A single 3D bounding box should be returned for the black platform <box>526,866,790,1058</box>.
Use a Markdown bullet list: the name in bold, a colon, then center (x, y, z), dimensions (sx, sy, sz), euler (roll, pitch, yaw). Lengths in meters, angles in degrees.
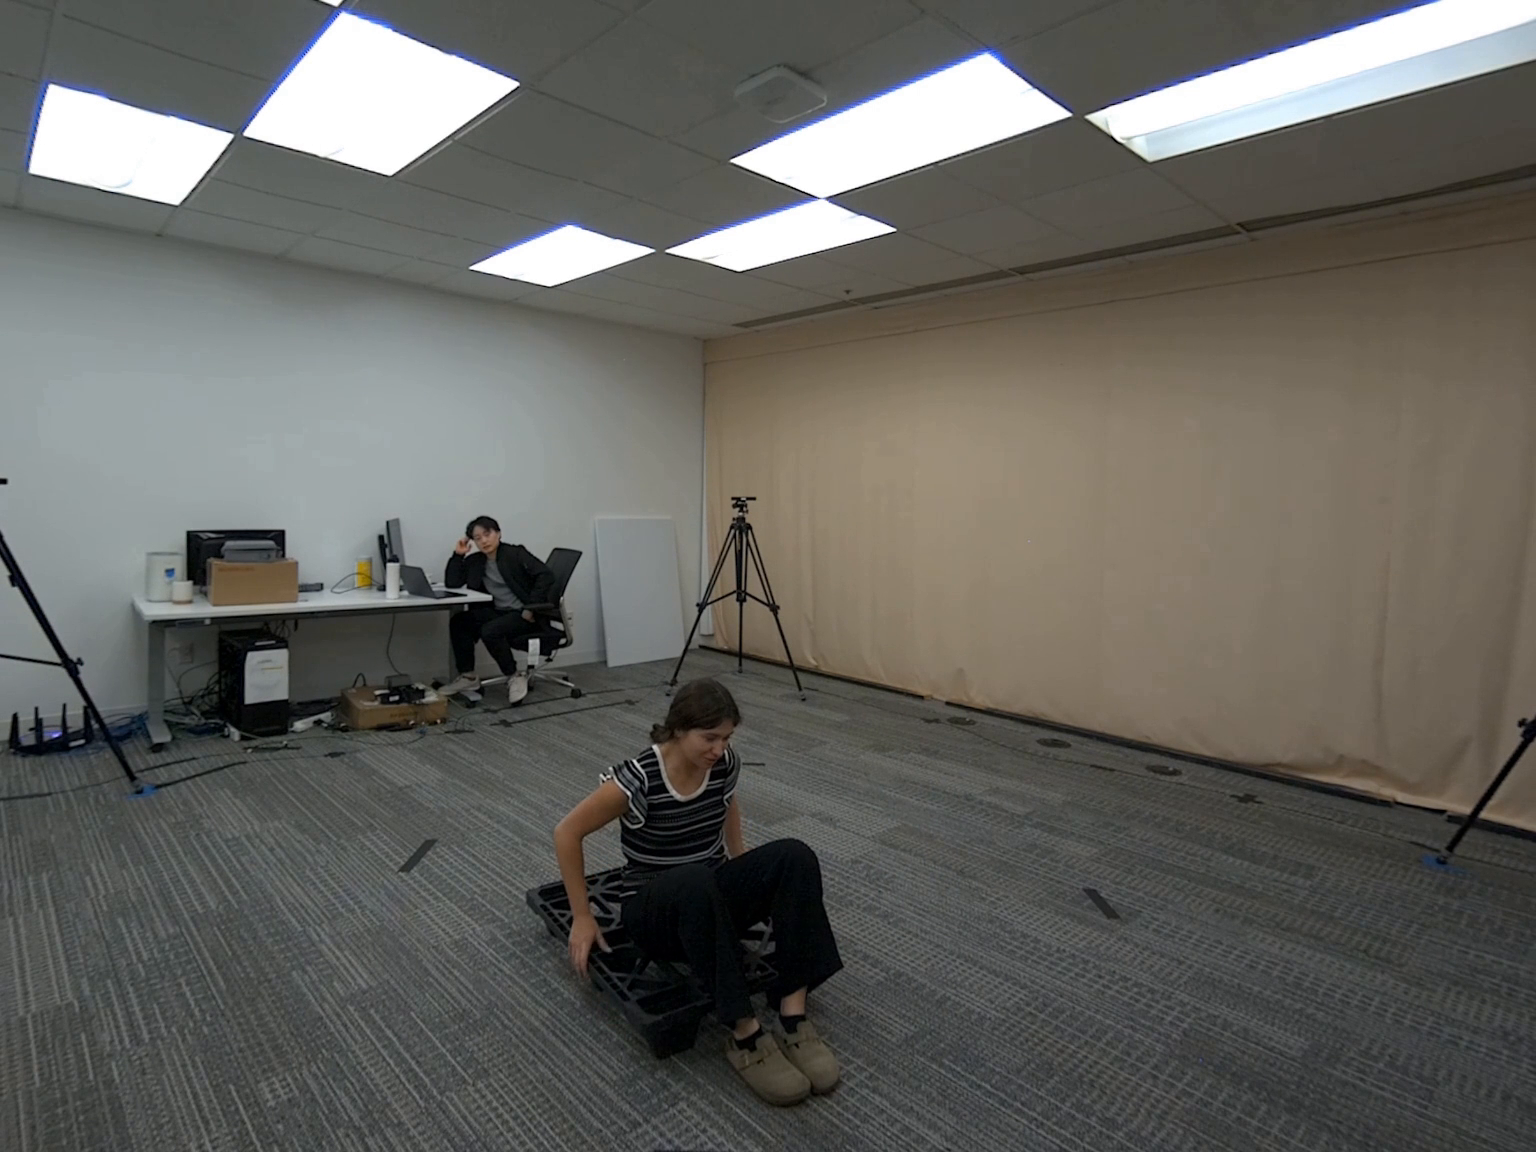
- **black platform**: center (-0.304, 1.089, 2.506), dimensions (0.592, 0.143, 0.826), euler (-4, 8, -35)
